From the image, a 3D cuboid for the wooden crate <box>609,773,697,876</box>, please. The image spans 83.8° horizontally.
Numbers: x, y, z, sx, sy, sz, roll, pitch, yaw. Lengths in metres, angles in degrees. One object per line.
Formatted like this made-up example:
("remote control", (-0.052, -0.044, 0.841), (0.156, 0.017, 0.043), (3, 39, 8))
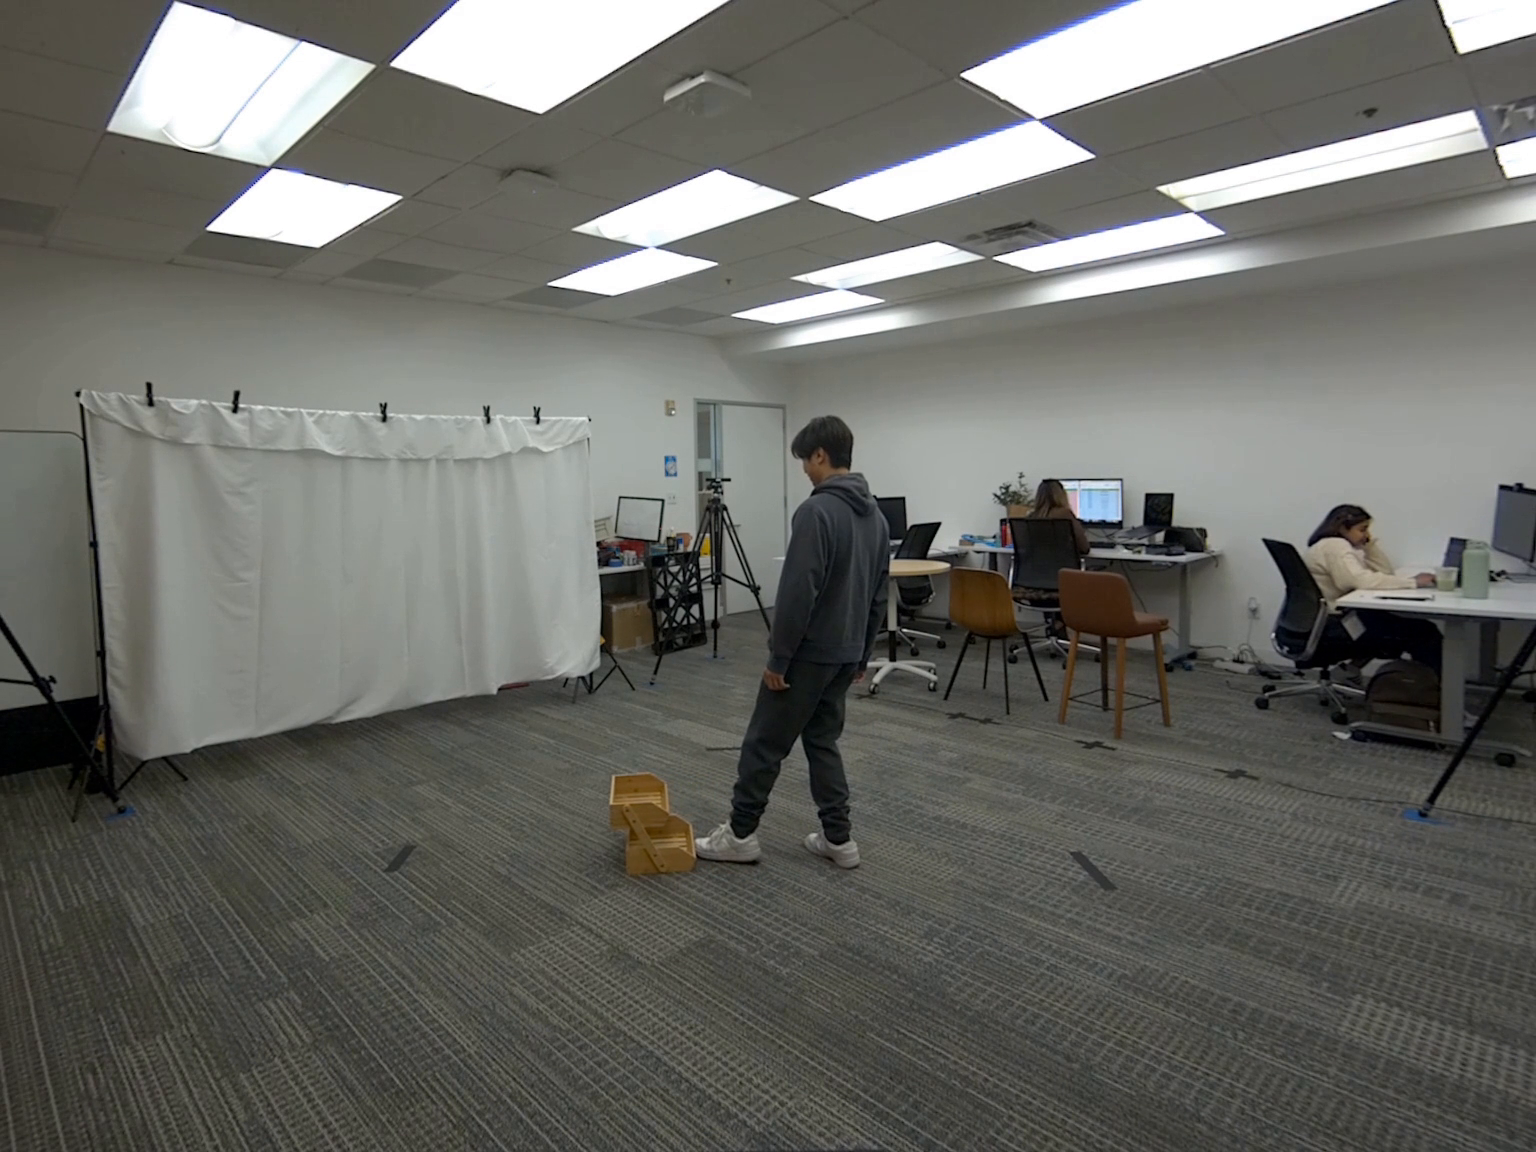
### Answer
("wooden crate", (-0.420, 0.906, 3.174), (0.300, 0.272, 0.328), (-2, 5, -7))
